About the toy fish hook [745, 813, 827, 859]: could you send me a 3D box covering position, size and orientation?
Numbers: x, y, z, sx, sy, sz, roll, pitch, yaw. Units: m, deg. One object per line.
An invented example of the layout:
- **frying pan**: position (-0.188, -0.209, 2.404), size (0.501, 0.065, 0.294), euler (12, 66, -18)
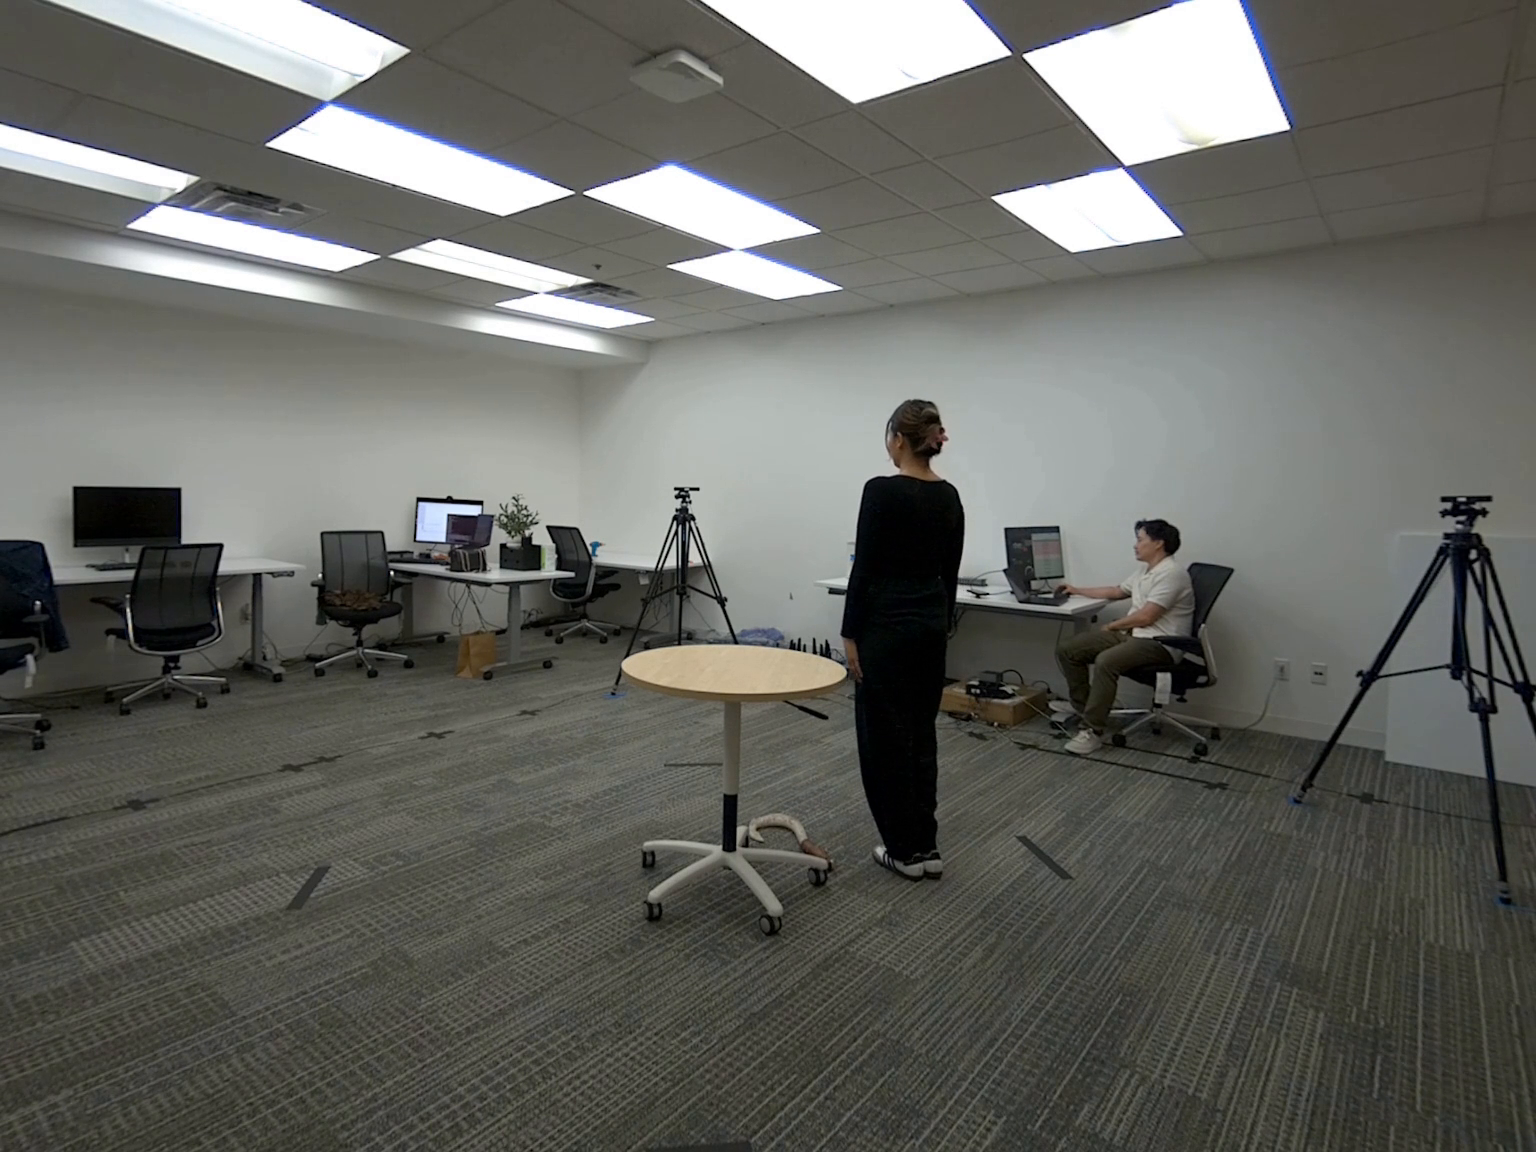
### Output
- **toy fish hook**: position (0.075, 1.033, 3.317), size (0.221, 0.048, 0.519), euler (-10, 9, -21)
